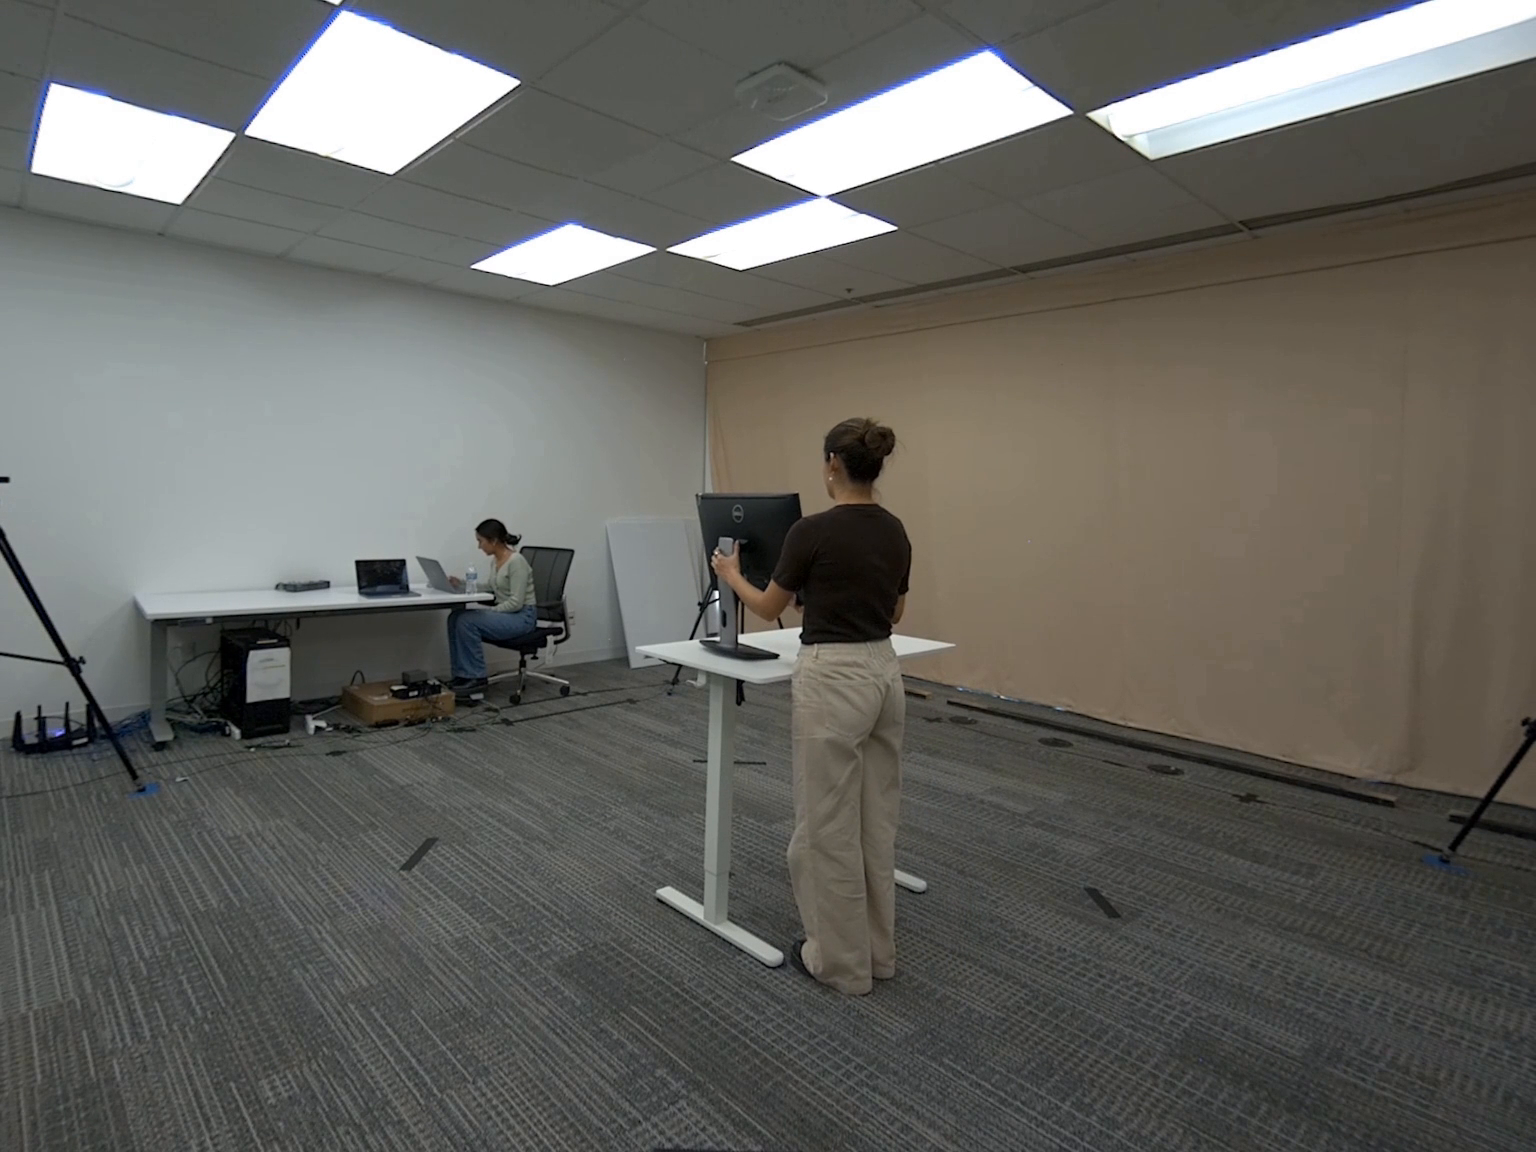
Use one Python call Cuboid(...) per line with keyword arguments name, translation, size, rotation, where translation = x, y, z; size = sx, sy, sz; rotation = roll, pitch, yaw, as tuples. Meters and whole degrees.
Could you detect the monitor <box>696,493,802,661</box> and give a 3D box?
Cuboid(name="monitor", translation=(-0.088, -0.006, 2.738), size=(0.183, 0.522, 0.552), rotation=(1, 3, -39))
